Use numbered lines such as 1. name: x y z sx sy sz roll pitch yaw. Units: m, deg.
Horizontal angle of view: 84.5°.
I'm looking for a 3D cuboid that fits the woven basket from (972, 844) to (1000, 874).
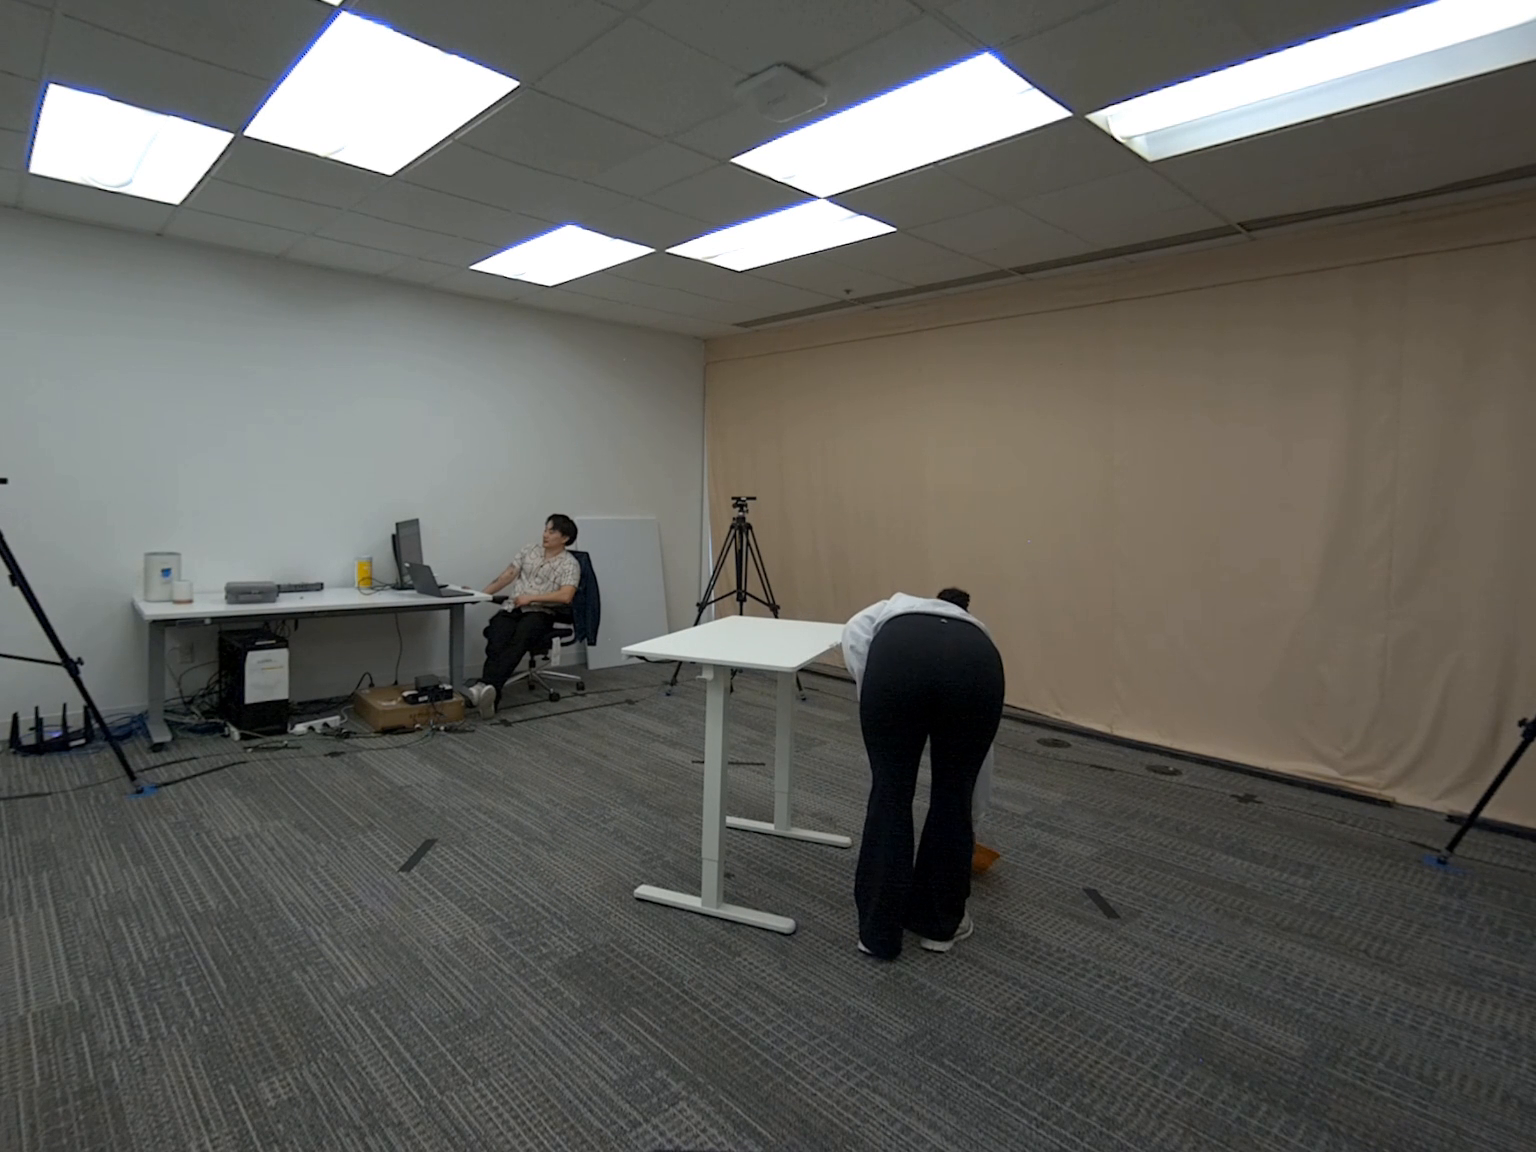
1. woven basket: 0.725 1.033 3.120 0.257 0.074 0.342 16 -15 18
